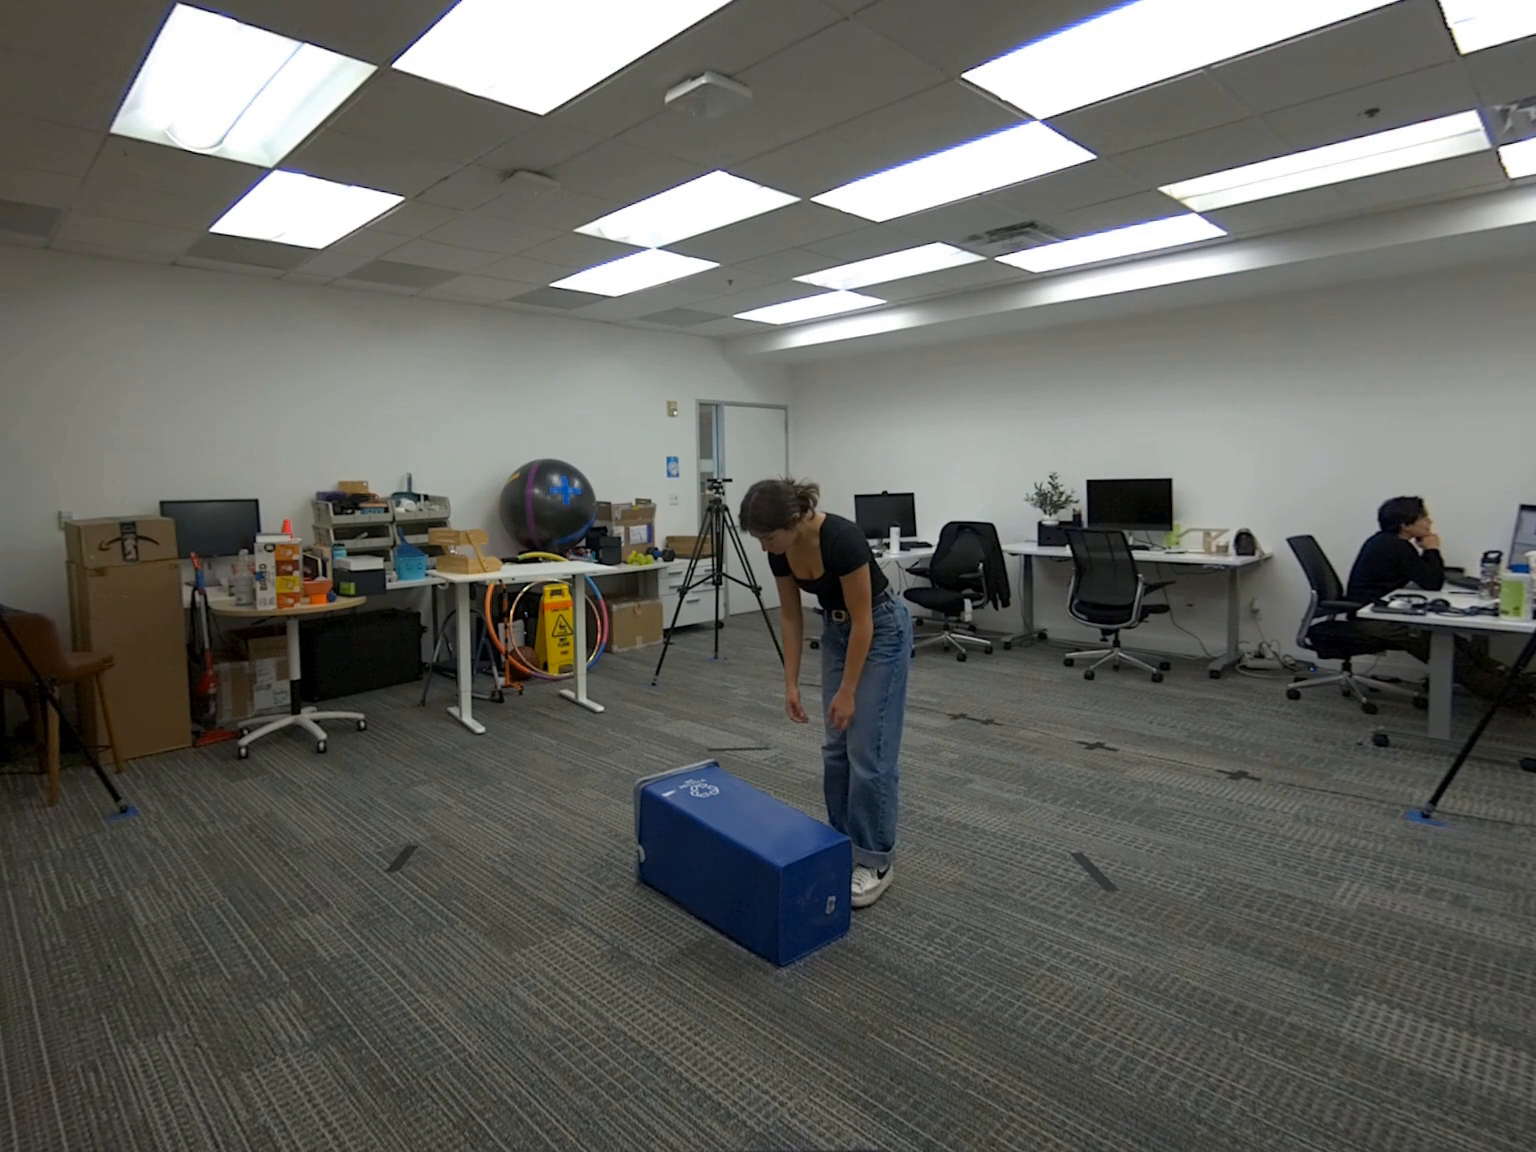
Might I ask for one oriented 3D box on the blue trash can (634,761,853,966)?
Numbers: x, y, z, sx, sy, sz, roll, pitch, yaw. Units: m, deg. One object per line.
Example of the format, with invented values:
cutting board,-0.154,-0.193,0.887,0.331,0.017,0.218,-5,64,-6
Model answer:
blue trash can,-0.085,0.916,2.789,0.364,0.376,0.737,-4,10,-41
